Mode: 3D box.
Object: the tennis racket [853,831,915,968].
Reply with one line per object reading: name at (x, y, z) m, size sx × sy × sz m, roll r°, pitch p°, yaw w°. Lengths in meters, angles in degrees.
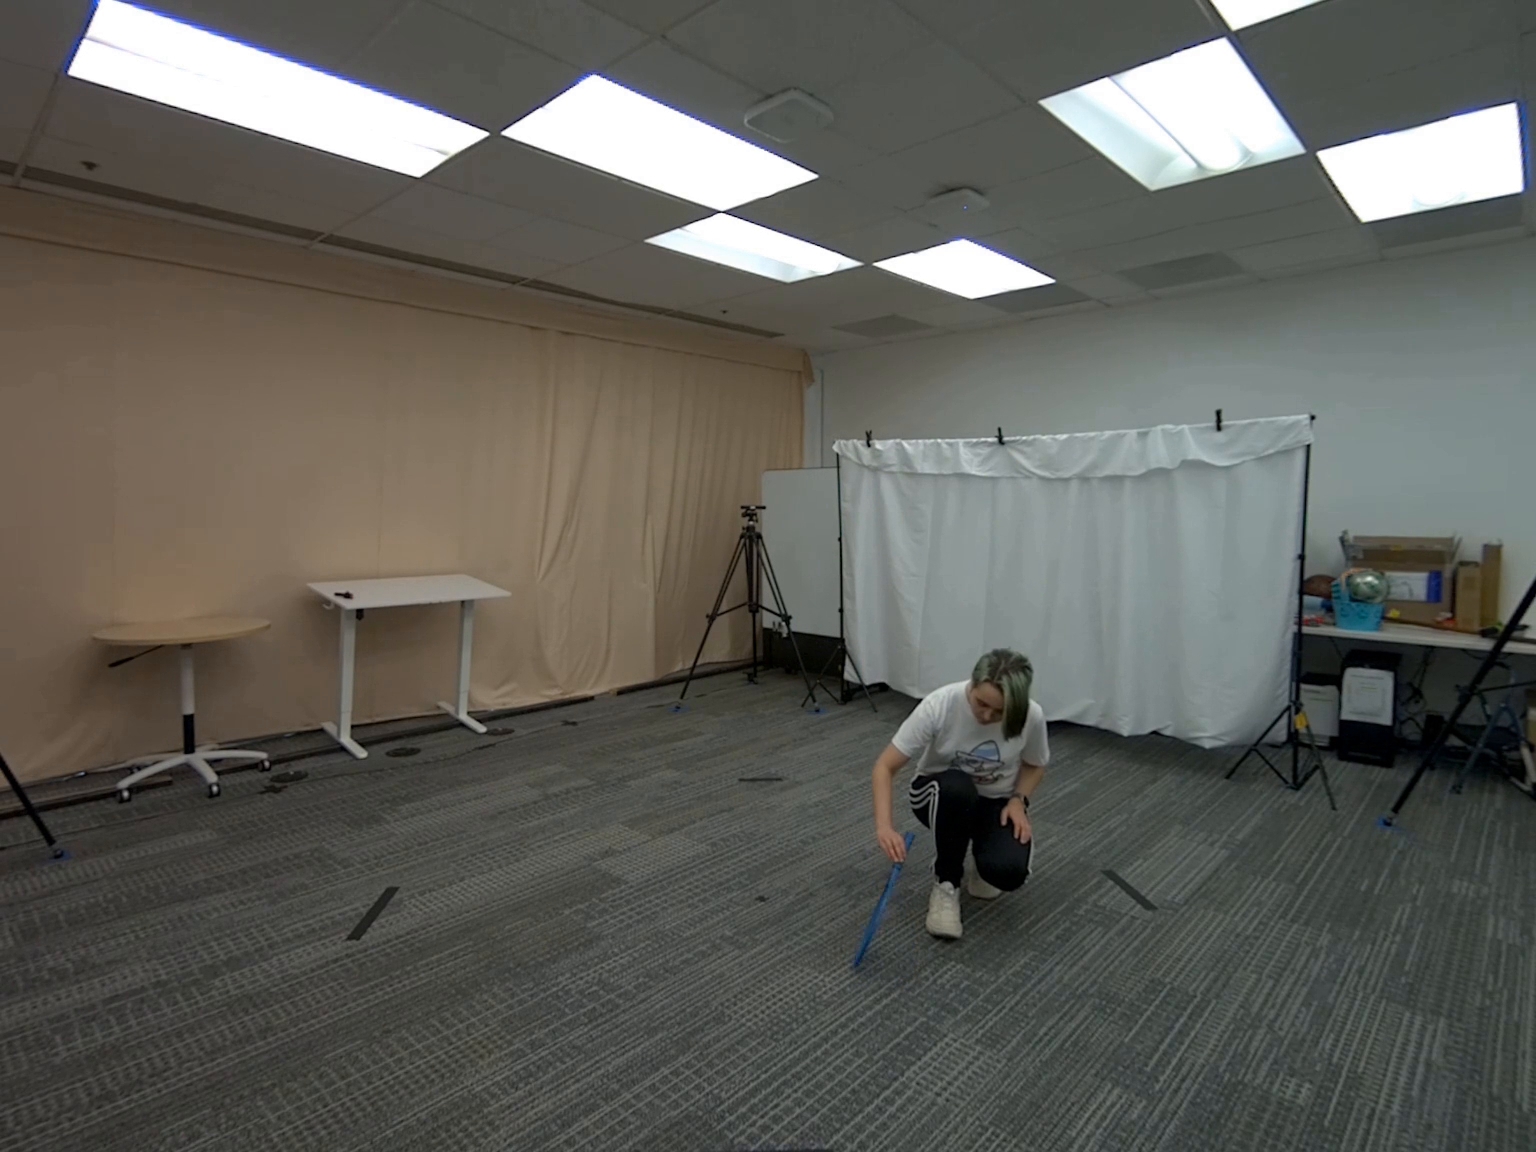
tennis racket at (0.365, 0.997, 2.603) m, size 0.032 × 0.432 × 0.211 m, roll 26°, pitch -23°, yaw 9°
